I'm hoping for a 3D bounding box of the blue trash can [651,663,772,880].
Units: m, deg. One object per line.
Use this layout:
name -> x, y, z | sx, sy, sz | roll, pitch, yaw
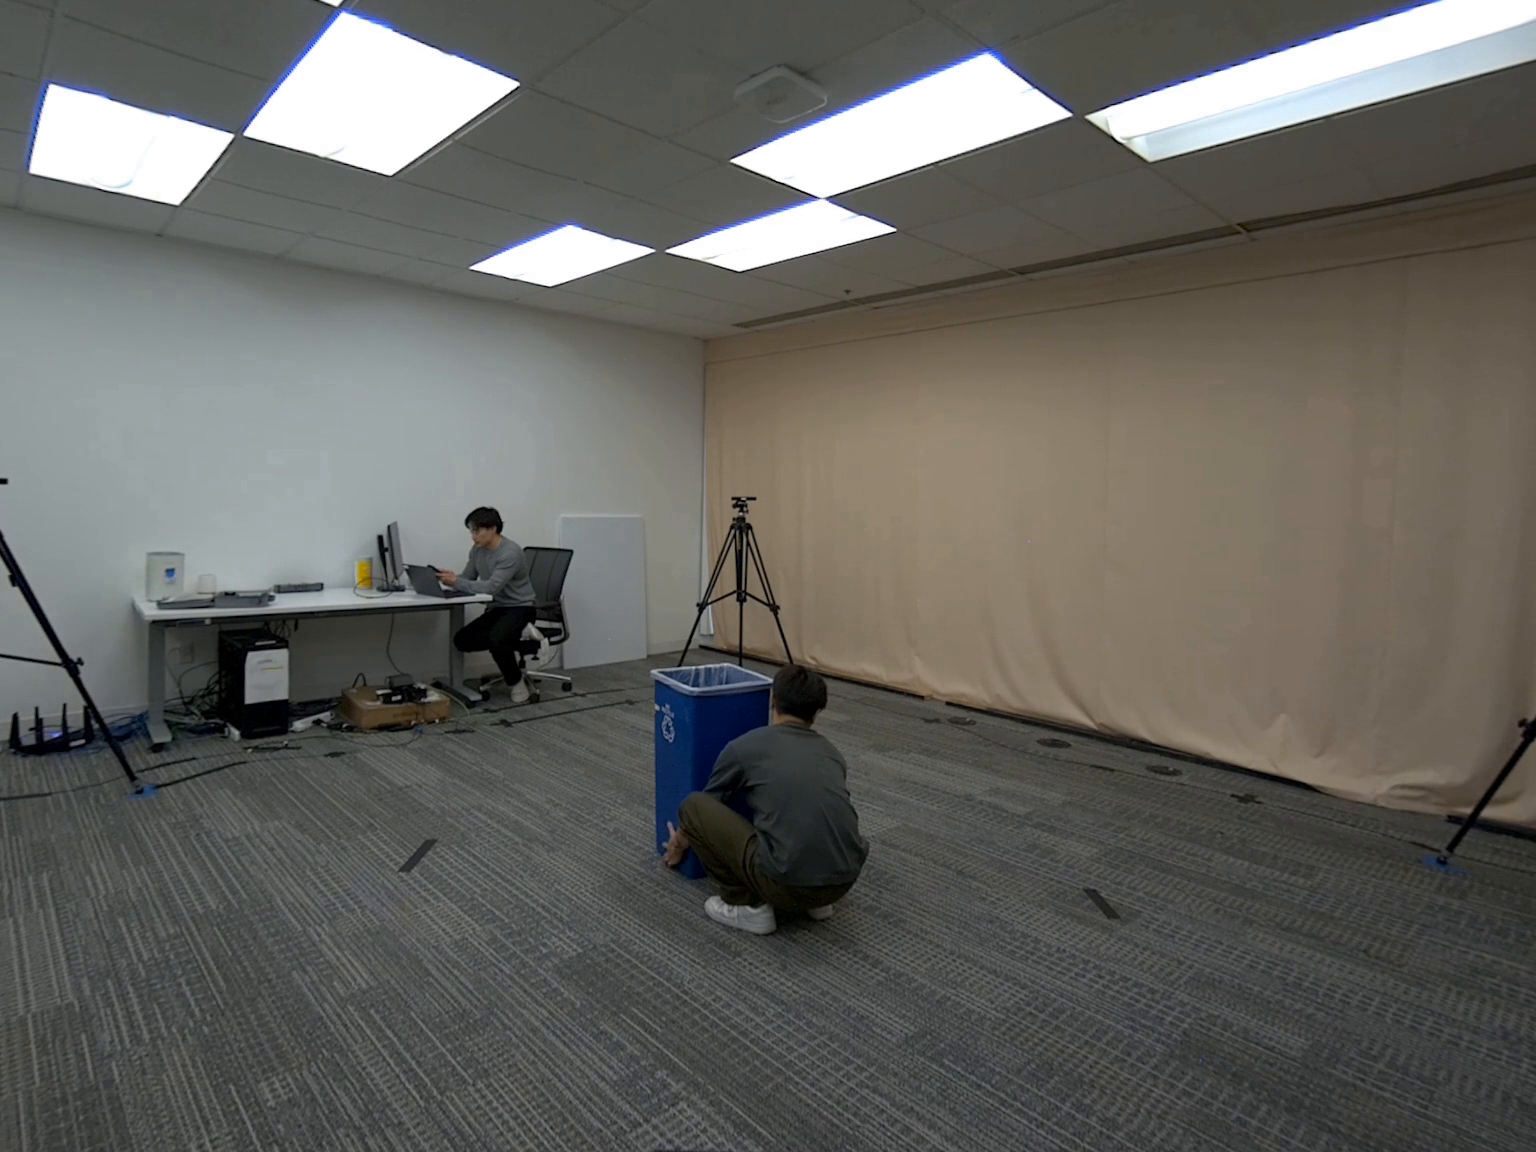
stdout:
blue trash can -> -0.238, 0.732, 3.237 | 0.366, 0.712, 0.387 | 0, 4, -32
